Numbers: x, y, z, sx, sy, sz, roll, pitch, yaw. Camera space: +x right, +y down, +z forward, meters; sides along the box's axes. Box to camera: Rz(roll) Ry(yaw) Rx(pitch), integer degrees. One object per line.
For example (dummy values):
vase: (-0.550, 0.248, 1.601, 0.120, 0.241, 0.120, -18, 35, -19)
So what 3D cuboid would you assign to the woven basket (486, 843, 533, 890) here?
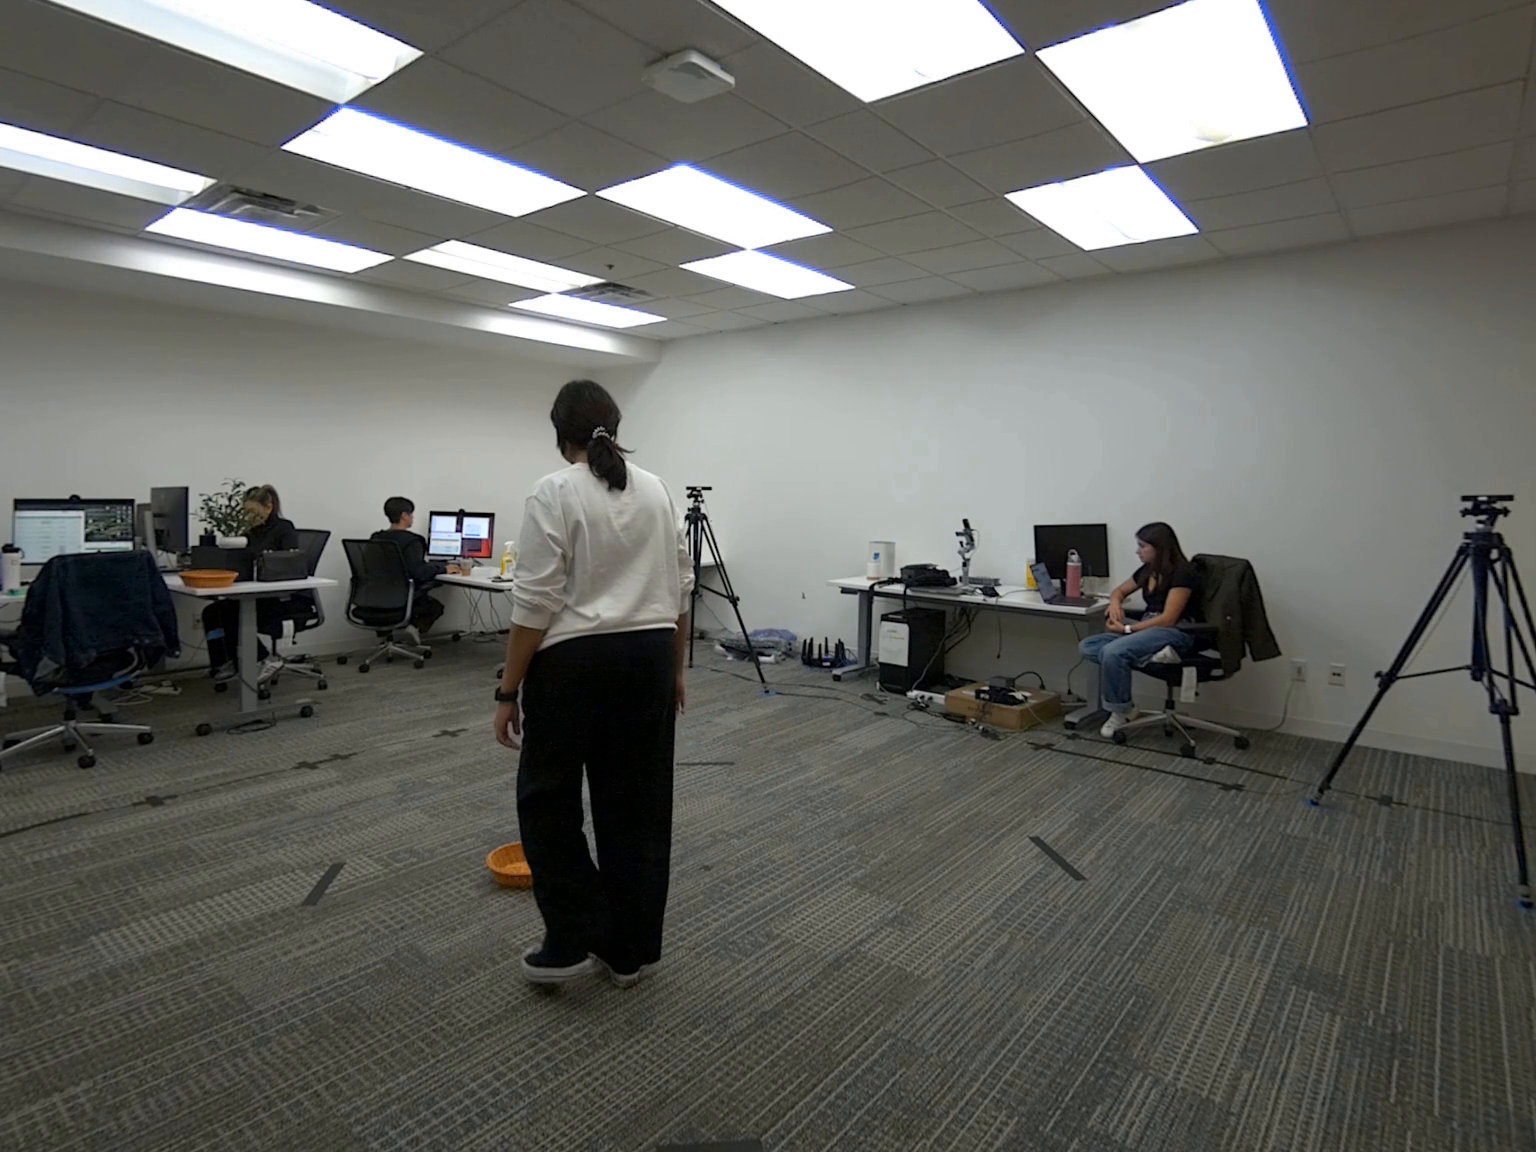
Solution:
woven basket: (-0.821, 1.023, 3.024, 0.349, 0.073, 0.254, 1, 7, -3)
